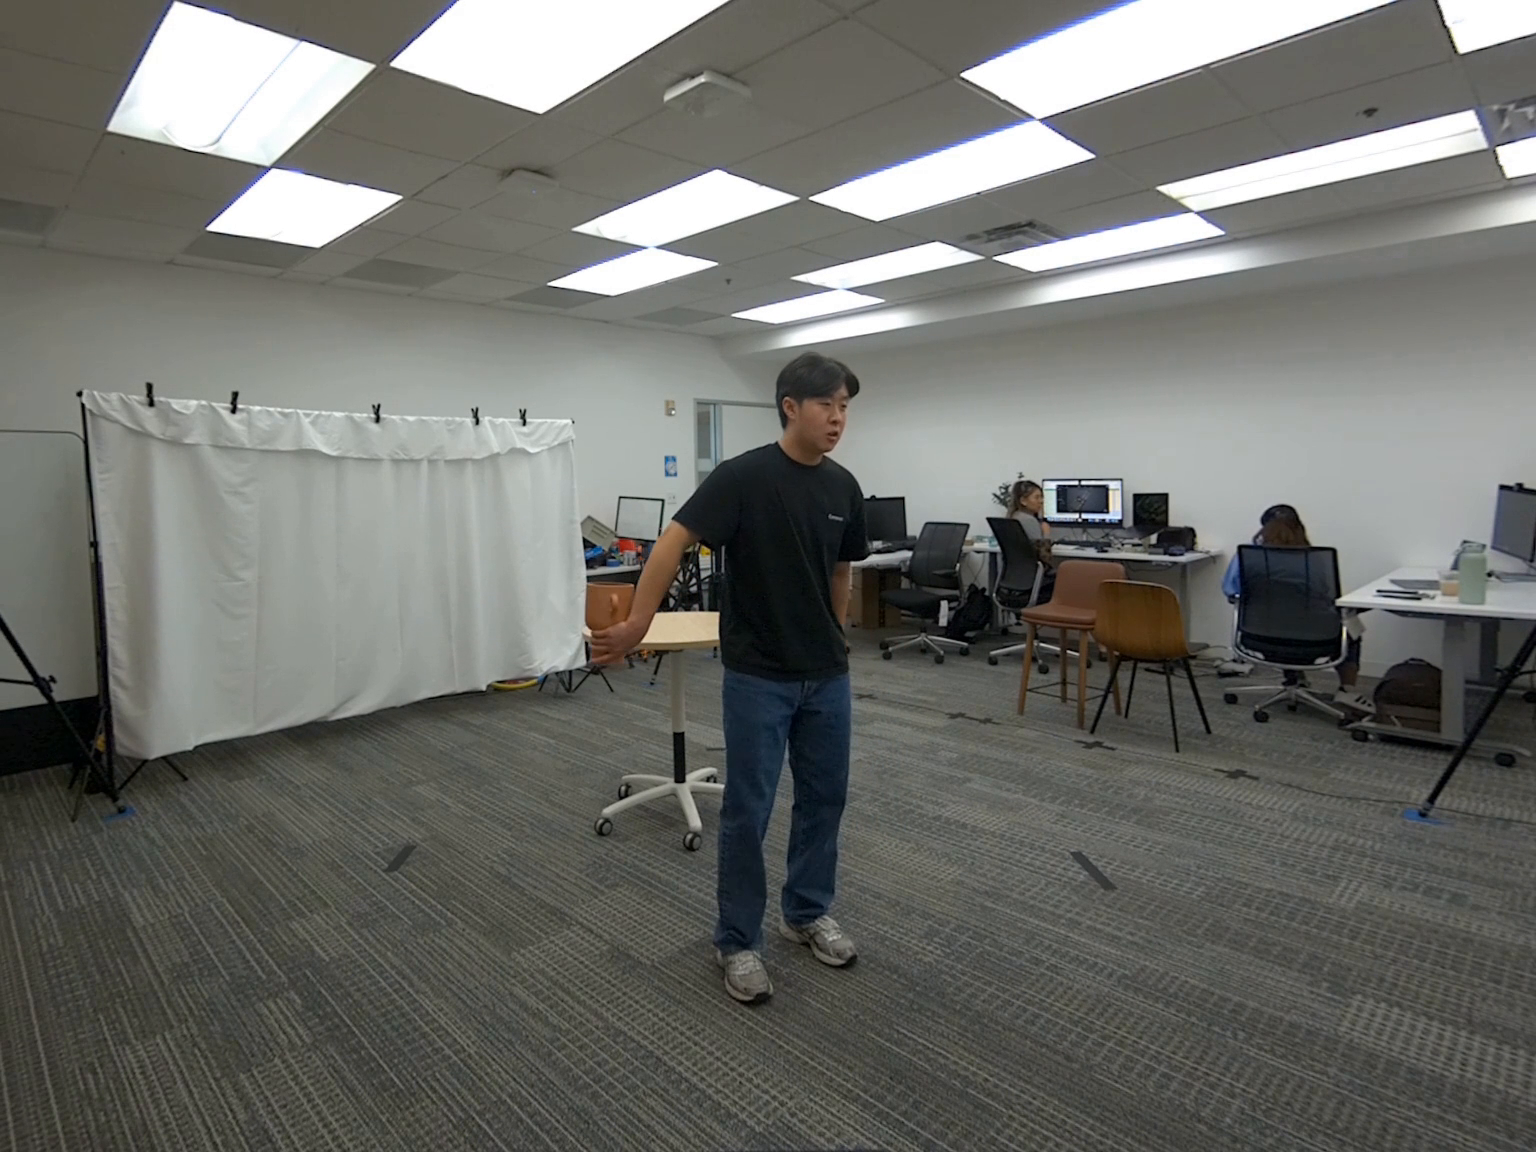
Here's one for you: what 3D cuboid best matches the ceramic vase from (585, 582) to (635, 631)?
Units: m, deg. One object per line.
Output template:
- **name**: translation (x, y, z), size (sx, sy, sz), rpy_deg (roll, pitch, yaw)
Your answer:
- **ceramic vase**: translation (-0.426, 0.134, 2.353), size (0.137, 0.219, 0.156), rpy_deg (4, 1, 20)
